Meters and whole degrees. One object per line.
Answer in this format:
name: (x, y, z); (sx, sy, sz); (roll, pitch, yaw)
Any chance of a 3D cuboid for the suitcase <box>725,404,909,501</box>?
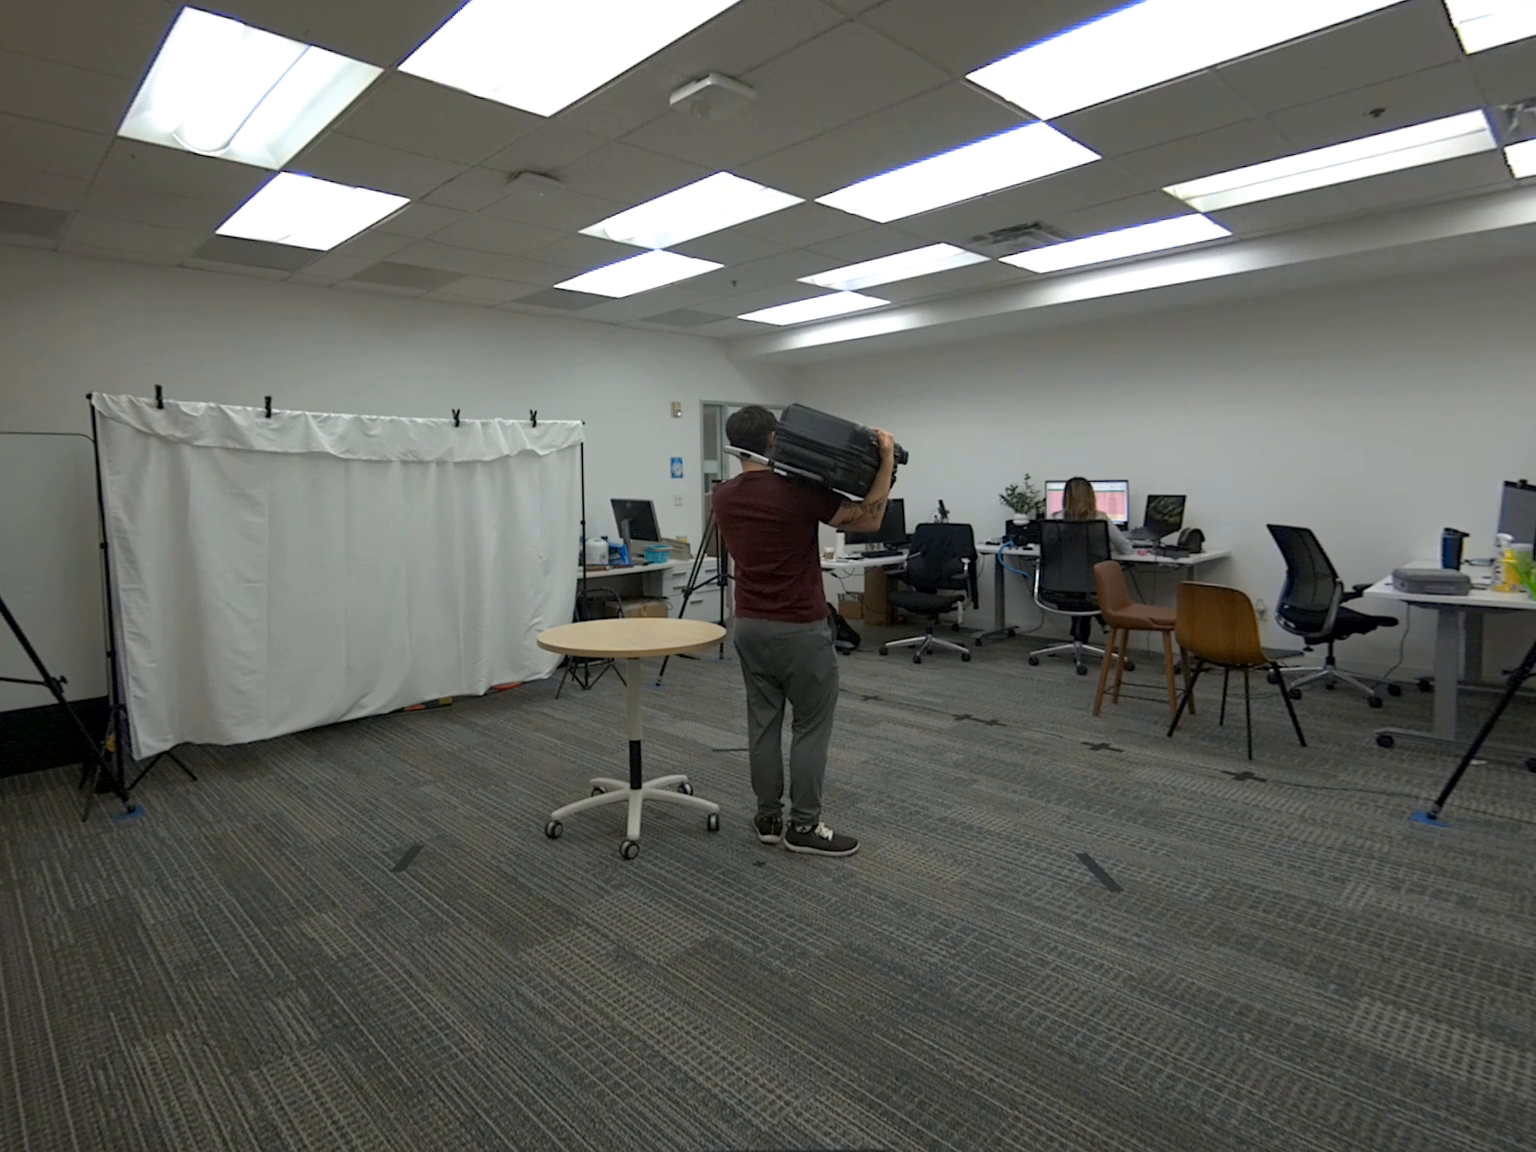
suitcase: (0.177, -0.460, 3.006); (0.396, 0.256, 0.953); (25, 8, 25)
